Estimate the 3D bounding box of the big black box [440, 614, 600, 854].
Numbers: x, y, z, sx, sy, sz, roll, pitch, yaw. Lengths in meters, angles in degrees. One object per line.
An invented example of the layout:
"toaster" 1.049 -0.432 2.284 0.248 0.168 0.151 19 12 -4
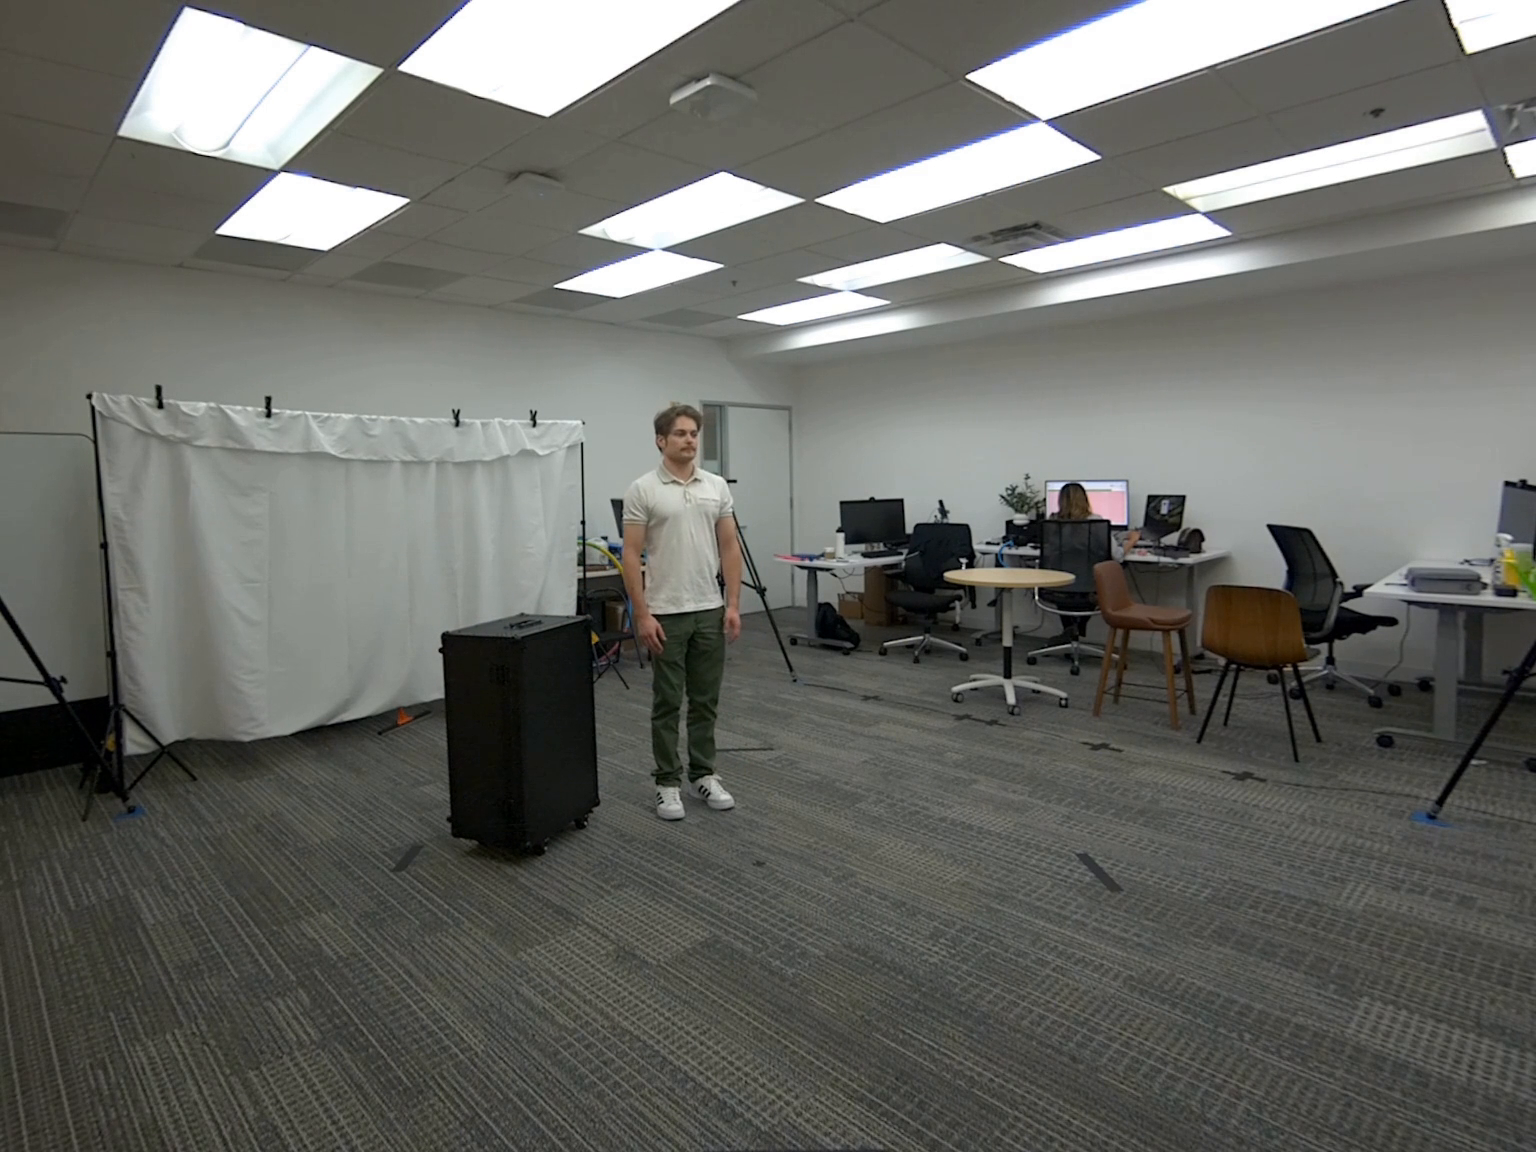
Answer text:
"big black box" -0.963 0.613 3.358 0.394 0.865 0.514 0 4 23
